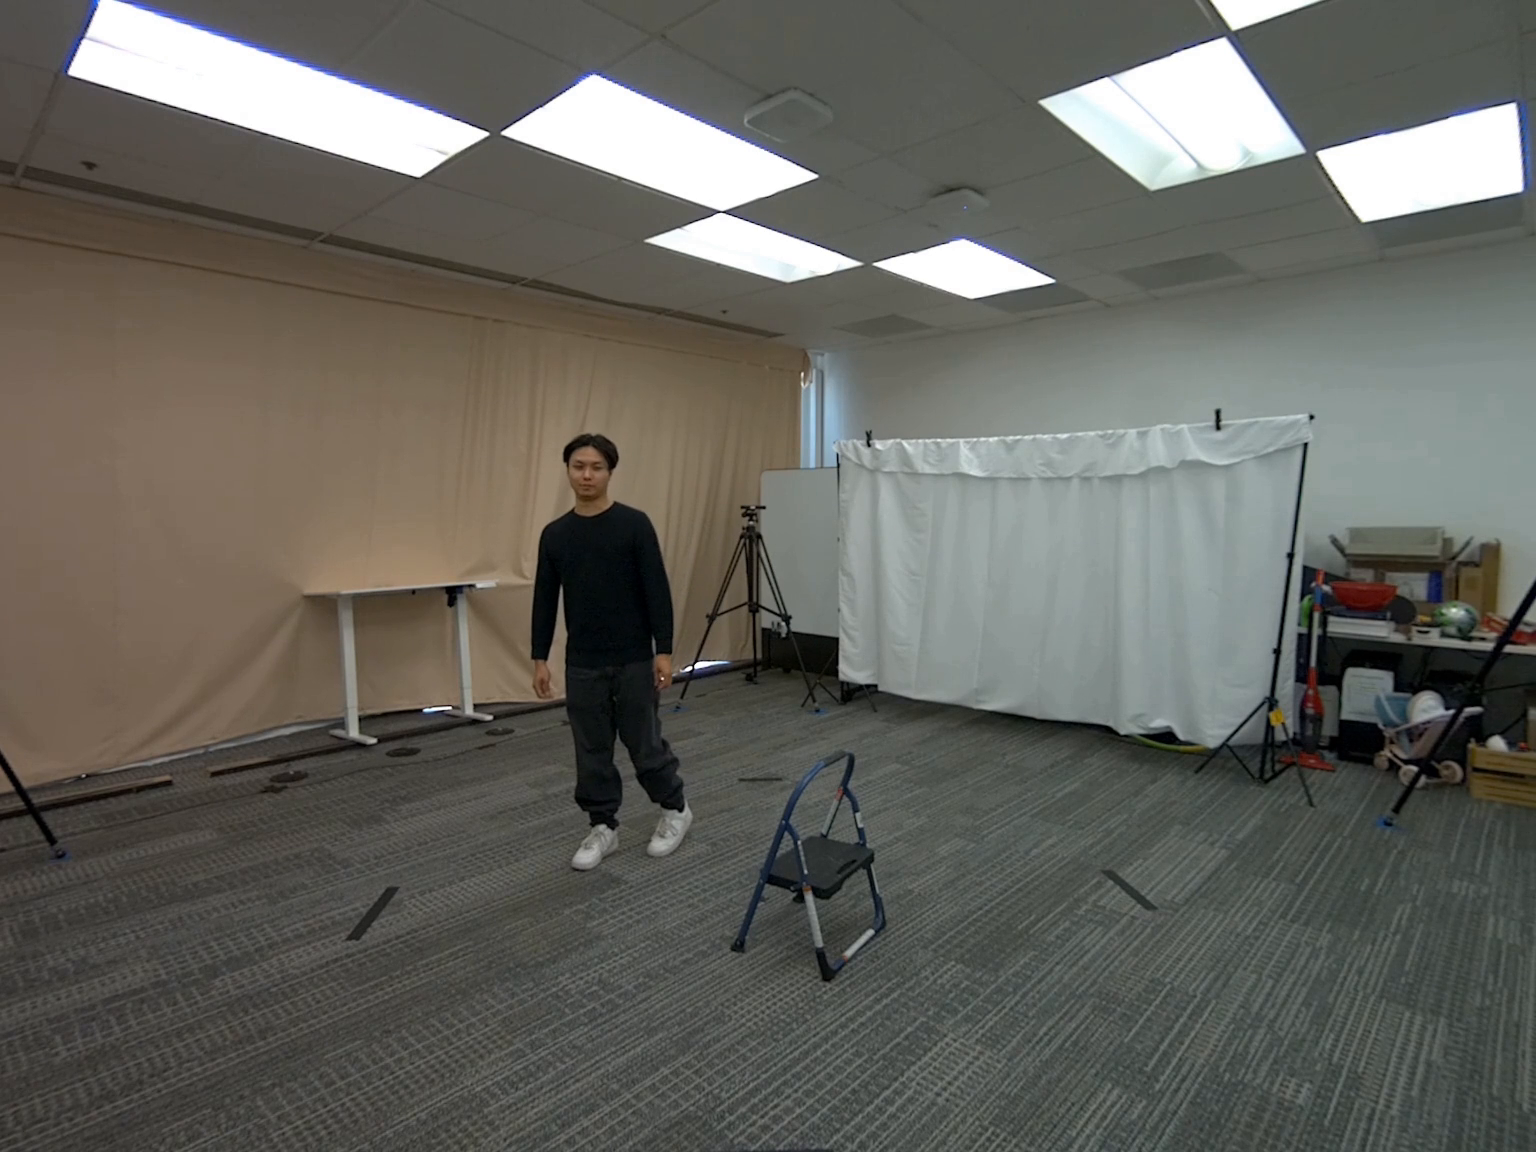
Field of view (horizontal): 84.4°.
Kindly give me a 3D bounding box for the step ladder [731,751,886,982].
[{"bbox_3d":[0.145,0.864,2.697,0.360,0.605,0.418,2,4,33],"label":"step ladder"}]
